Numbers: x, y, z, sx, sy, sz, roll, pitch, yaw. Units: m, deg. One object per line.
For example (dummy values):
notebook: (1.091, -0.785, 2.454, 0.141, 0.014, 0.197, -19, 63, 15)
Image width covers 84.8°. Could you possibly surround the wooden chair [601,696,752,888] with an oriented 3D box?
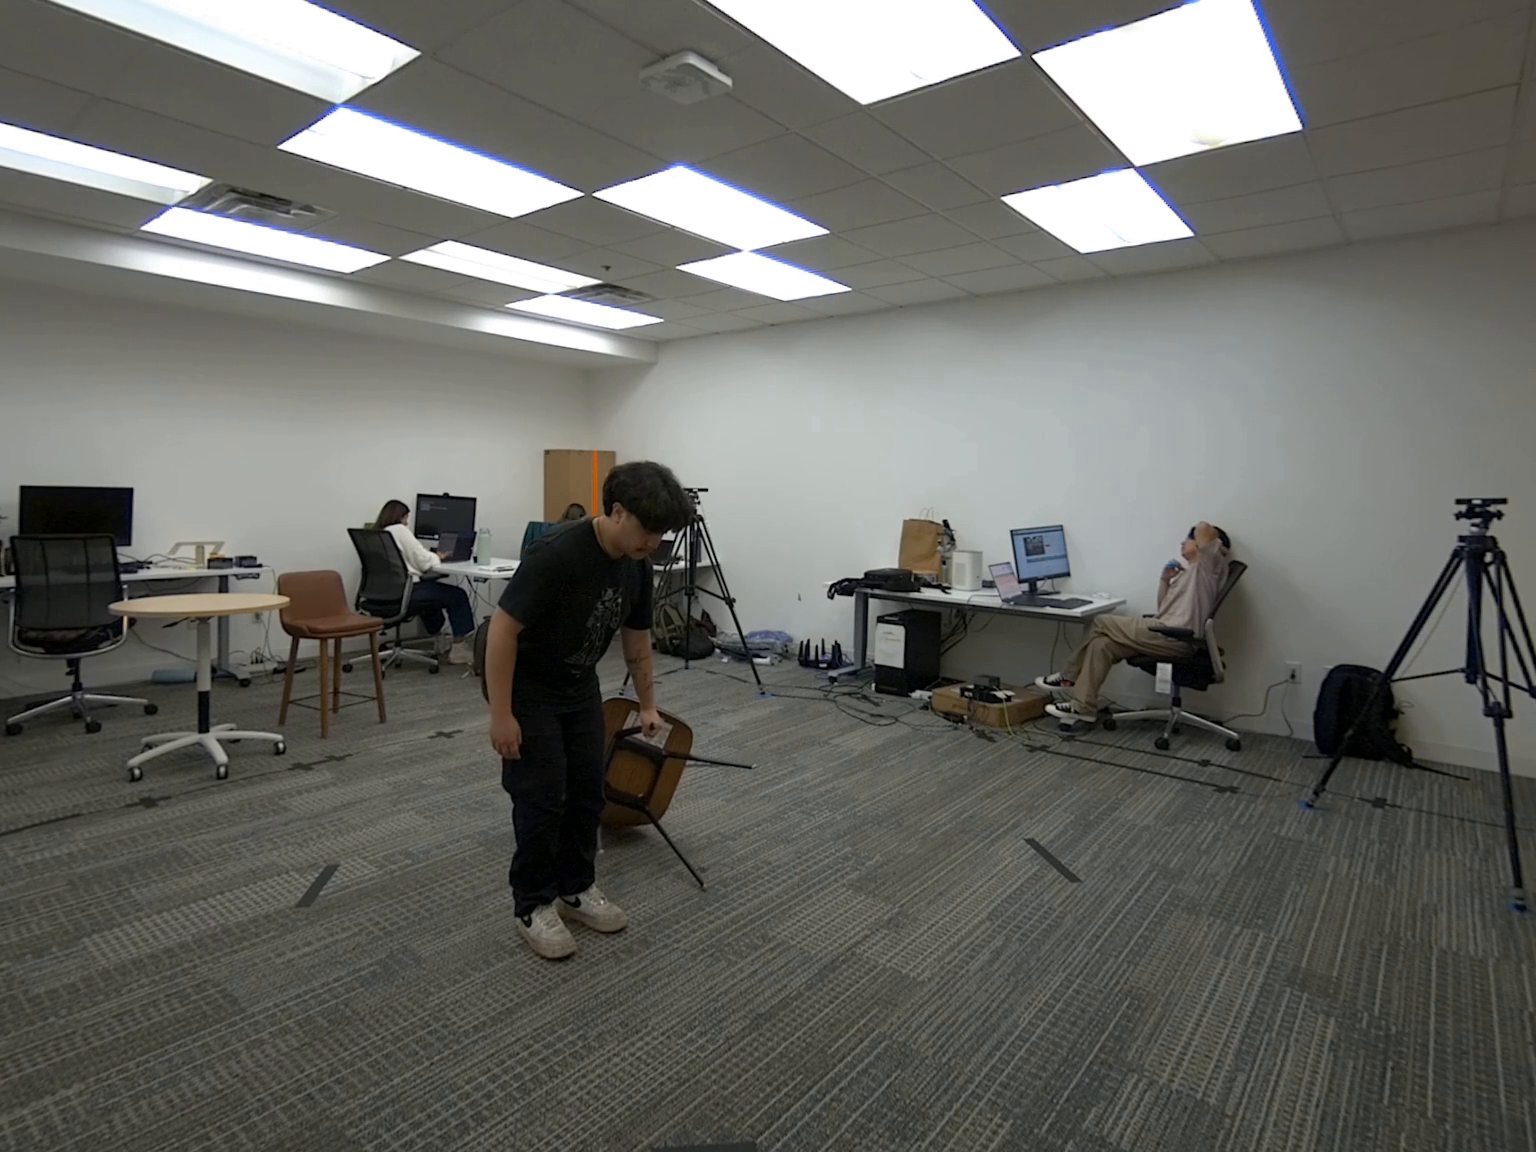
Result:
wooden chair: (-0.536, 0.752, 3.257, 0.462, 0.527, 0.902, 29, -16, -30)
